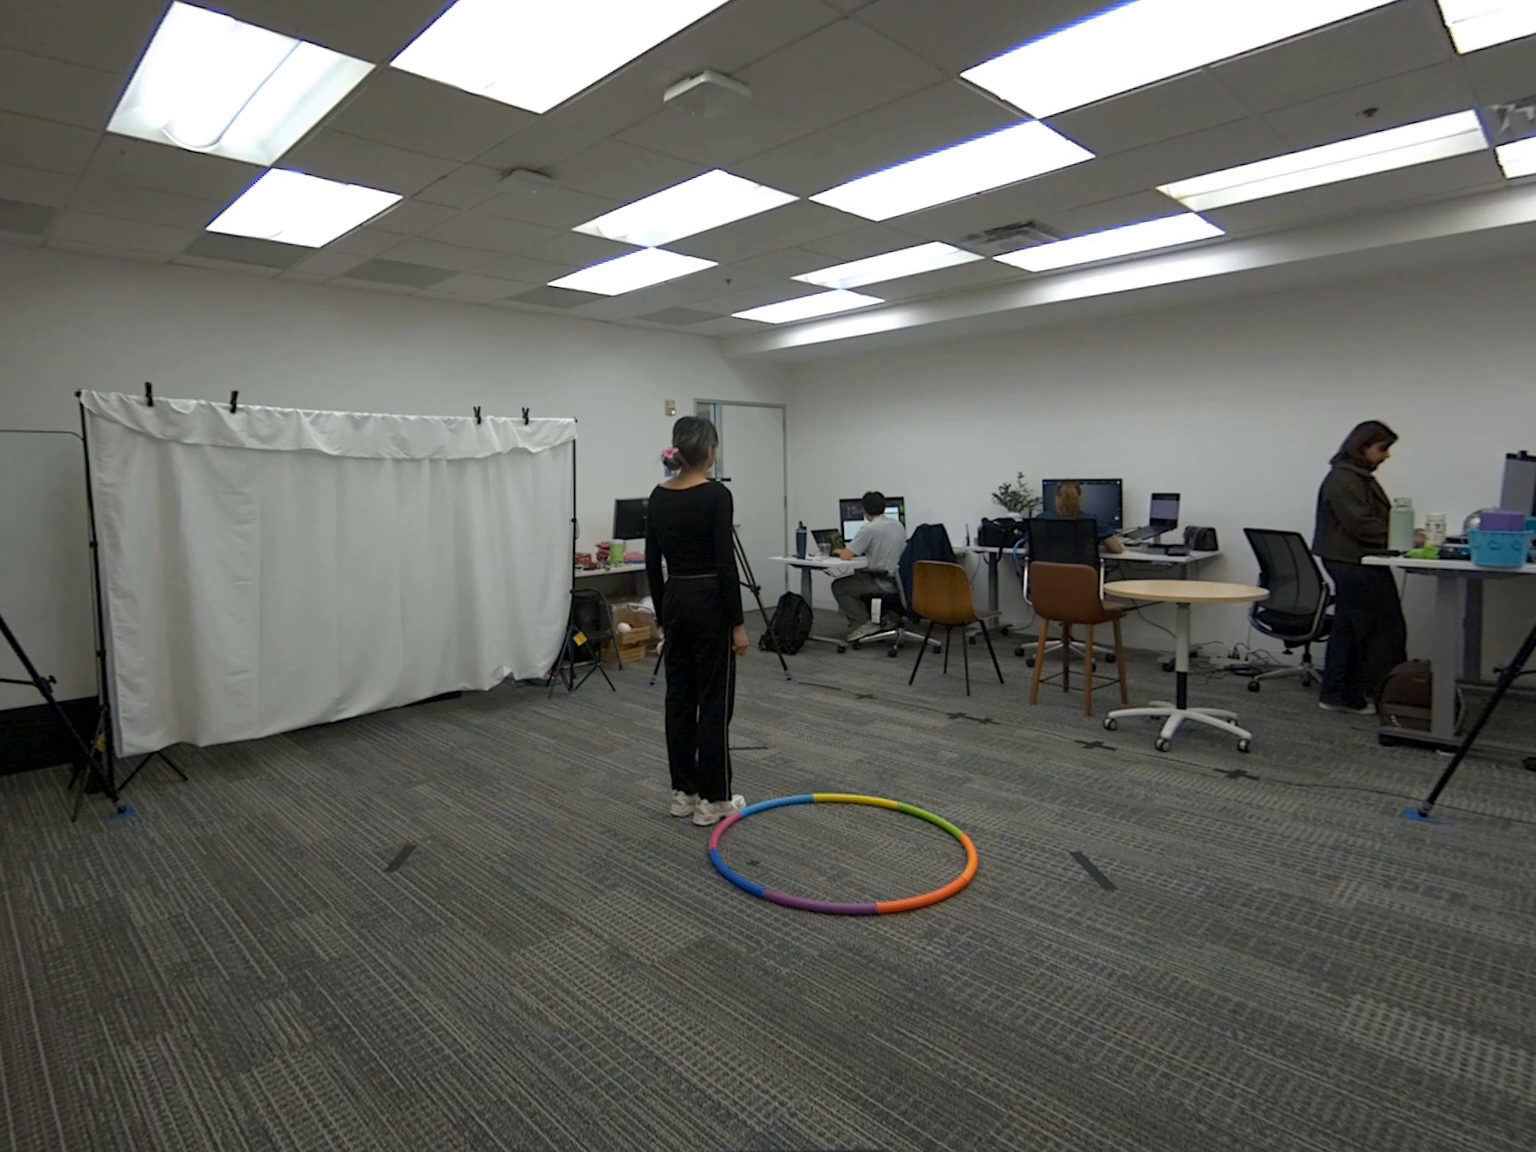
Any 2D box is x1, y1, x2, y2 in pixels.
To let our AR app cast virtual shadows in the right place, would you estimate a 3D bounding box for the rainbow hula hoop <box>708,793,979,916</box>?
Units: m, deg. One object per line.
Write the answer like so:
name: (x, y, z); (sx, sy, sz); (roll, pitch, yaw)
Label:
rainbow hula hoop: (0.266, 0.995, 3.196); (0.978, 0.035, 0.984); (-1, 6, -2)
